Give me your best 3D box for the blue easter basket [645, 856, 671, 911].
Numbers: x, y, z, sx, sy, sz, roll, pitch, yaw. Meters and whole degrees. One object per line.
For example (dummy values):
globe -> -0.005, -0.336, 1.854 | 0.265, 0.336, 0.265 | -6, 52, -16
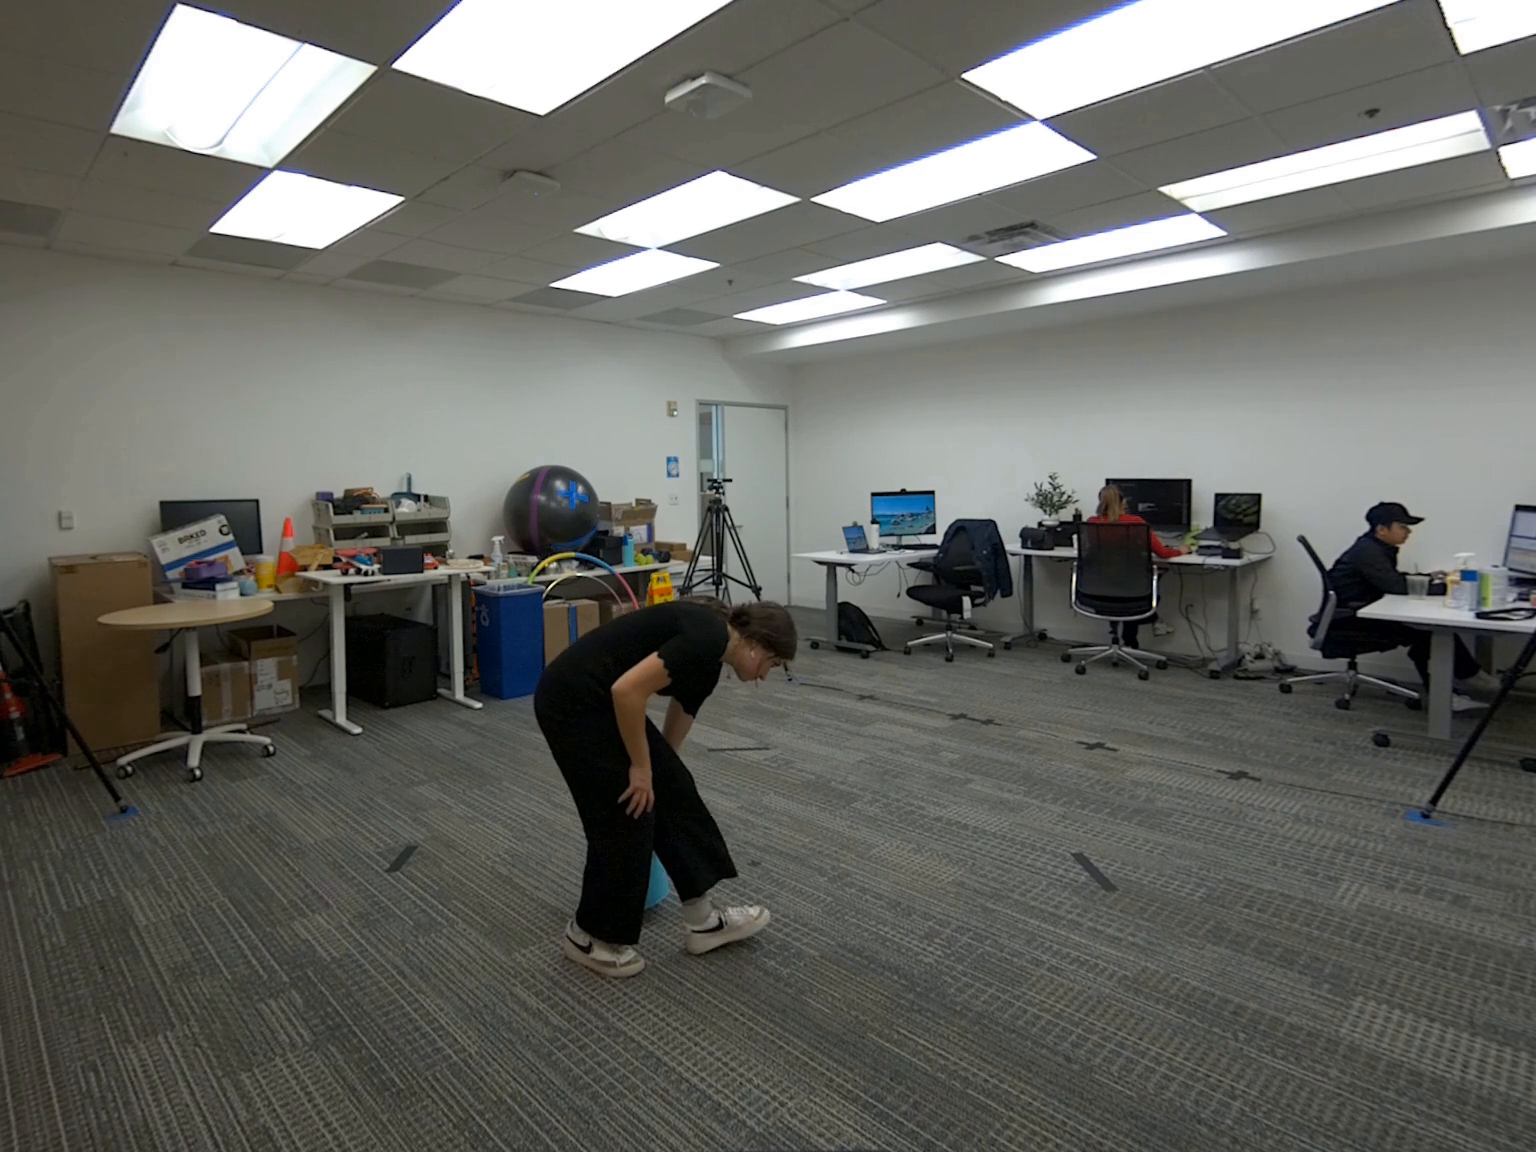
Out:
blue easter basket -> -0.431, 0.989, 2.778 | 0.243, 0.156, 0.243 | -18, -2, -3
